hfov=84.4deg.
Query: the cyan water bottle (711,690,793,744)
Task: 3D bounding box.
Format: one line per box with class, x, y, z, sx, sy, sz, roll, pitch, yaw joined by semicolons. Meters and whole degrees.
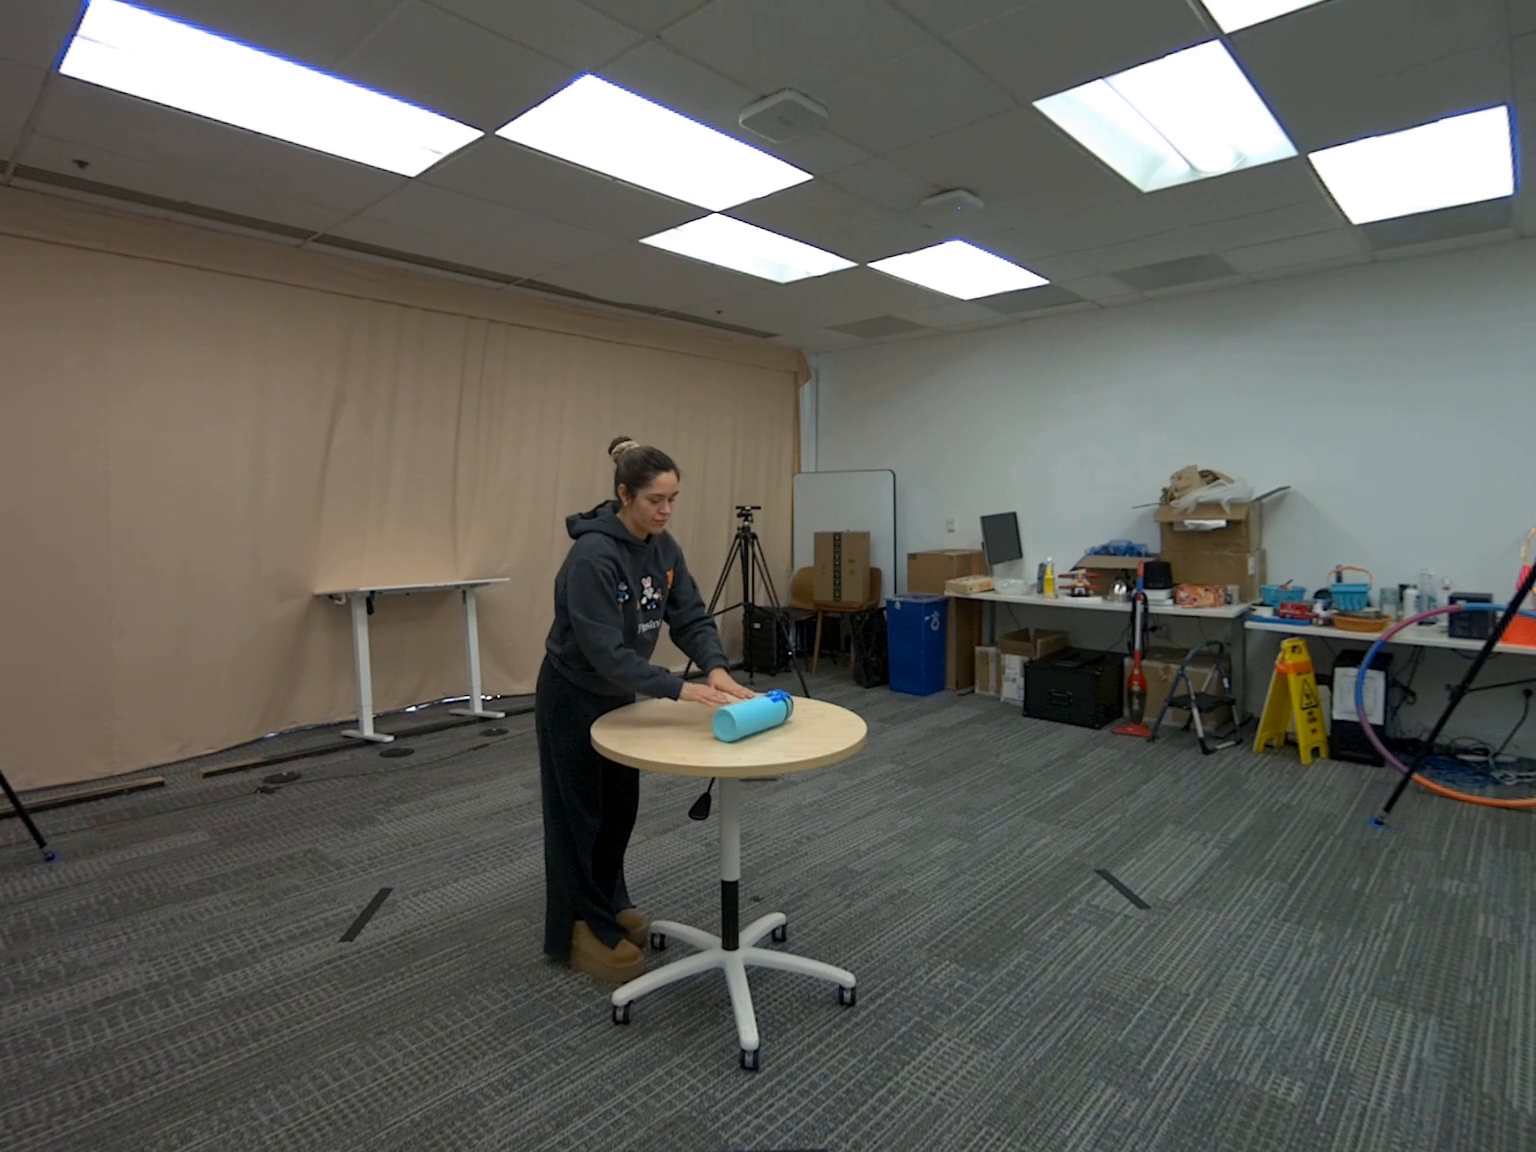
cyan water bottle;-0.023;0.373;2.277;0.095;0.092;0.275;3;5;37
